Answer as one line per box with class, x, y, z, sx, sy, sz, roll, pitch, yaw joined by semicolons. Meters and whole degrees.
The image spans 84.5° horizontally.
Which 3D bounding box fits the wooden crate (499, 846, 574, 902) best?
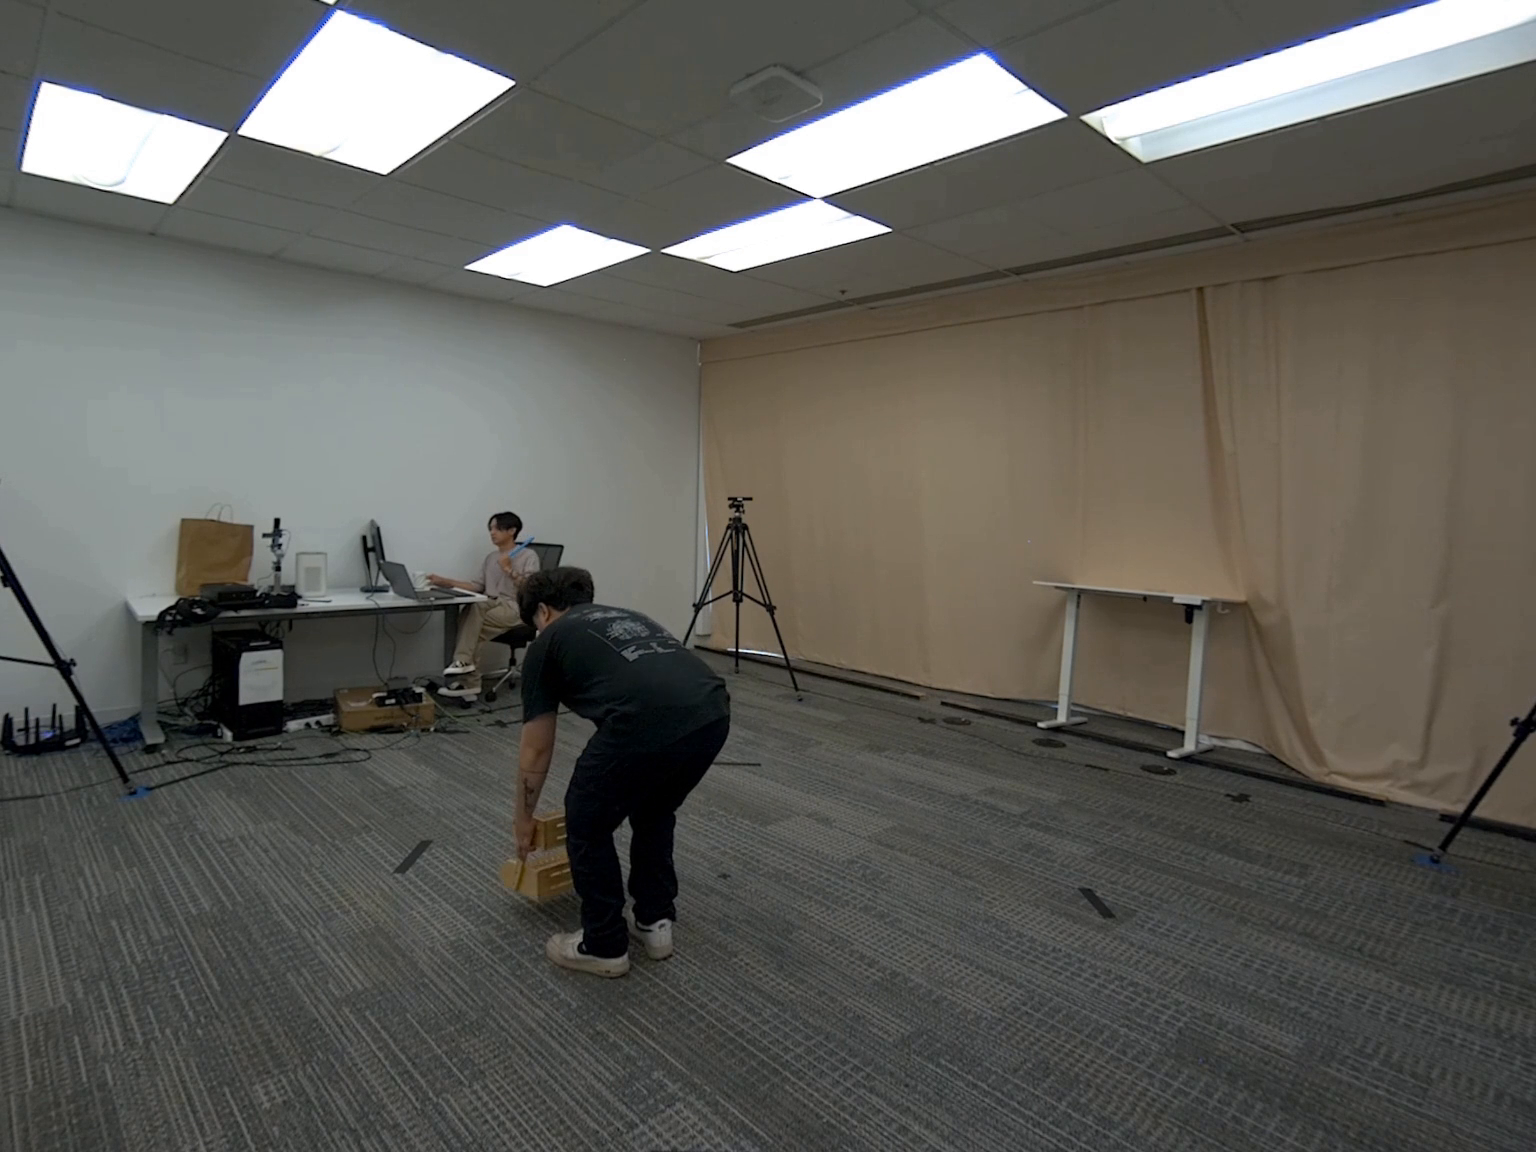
wooden crate;-0.695;0.882;2.823;0.309;0.274;0.317;-3;-1;44
